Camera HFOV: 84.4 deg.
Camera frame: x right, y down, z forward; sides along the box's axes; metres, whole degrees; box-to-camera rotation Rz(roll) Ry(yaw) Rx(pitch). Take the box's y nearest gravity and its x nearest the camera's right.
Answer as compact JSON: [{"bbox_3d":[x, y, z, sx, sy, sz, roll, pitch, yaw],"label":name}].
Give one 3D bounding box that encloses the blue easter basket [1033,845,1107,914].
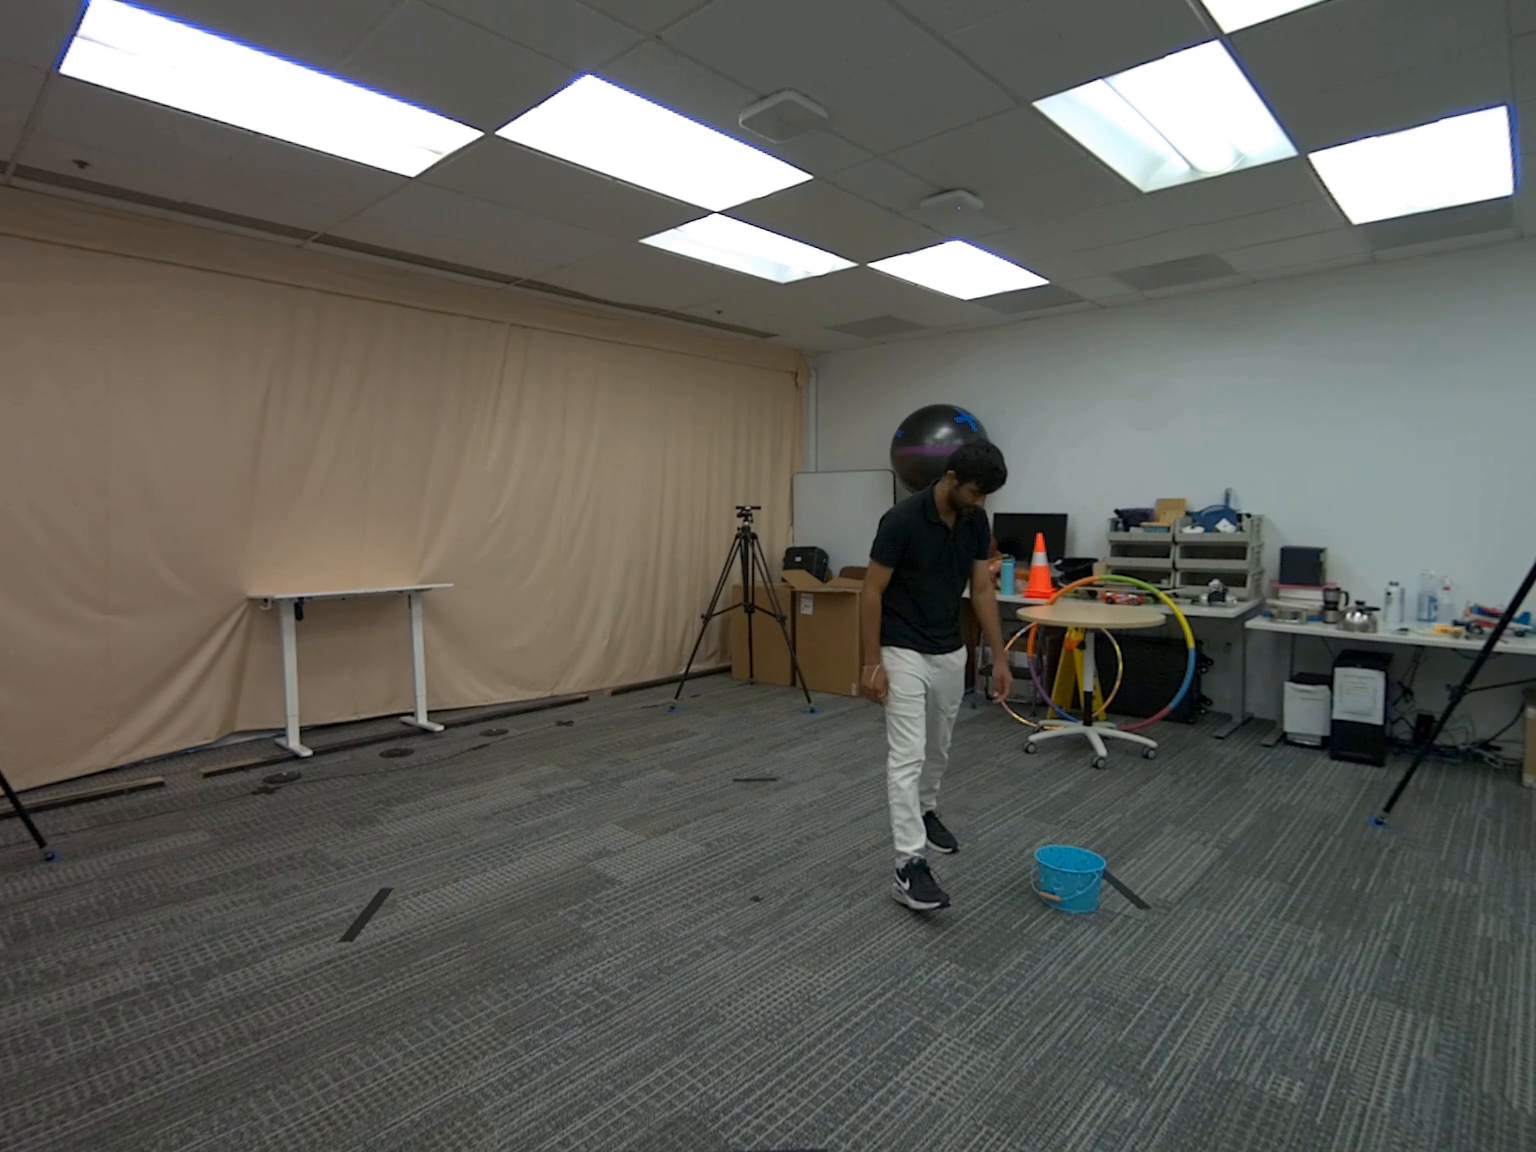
[{"bbox_3d":[1.073,1.070,2.963,0.243,0.155,0.244,0,3,-2],"label":"blue easter basket"}]
